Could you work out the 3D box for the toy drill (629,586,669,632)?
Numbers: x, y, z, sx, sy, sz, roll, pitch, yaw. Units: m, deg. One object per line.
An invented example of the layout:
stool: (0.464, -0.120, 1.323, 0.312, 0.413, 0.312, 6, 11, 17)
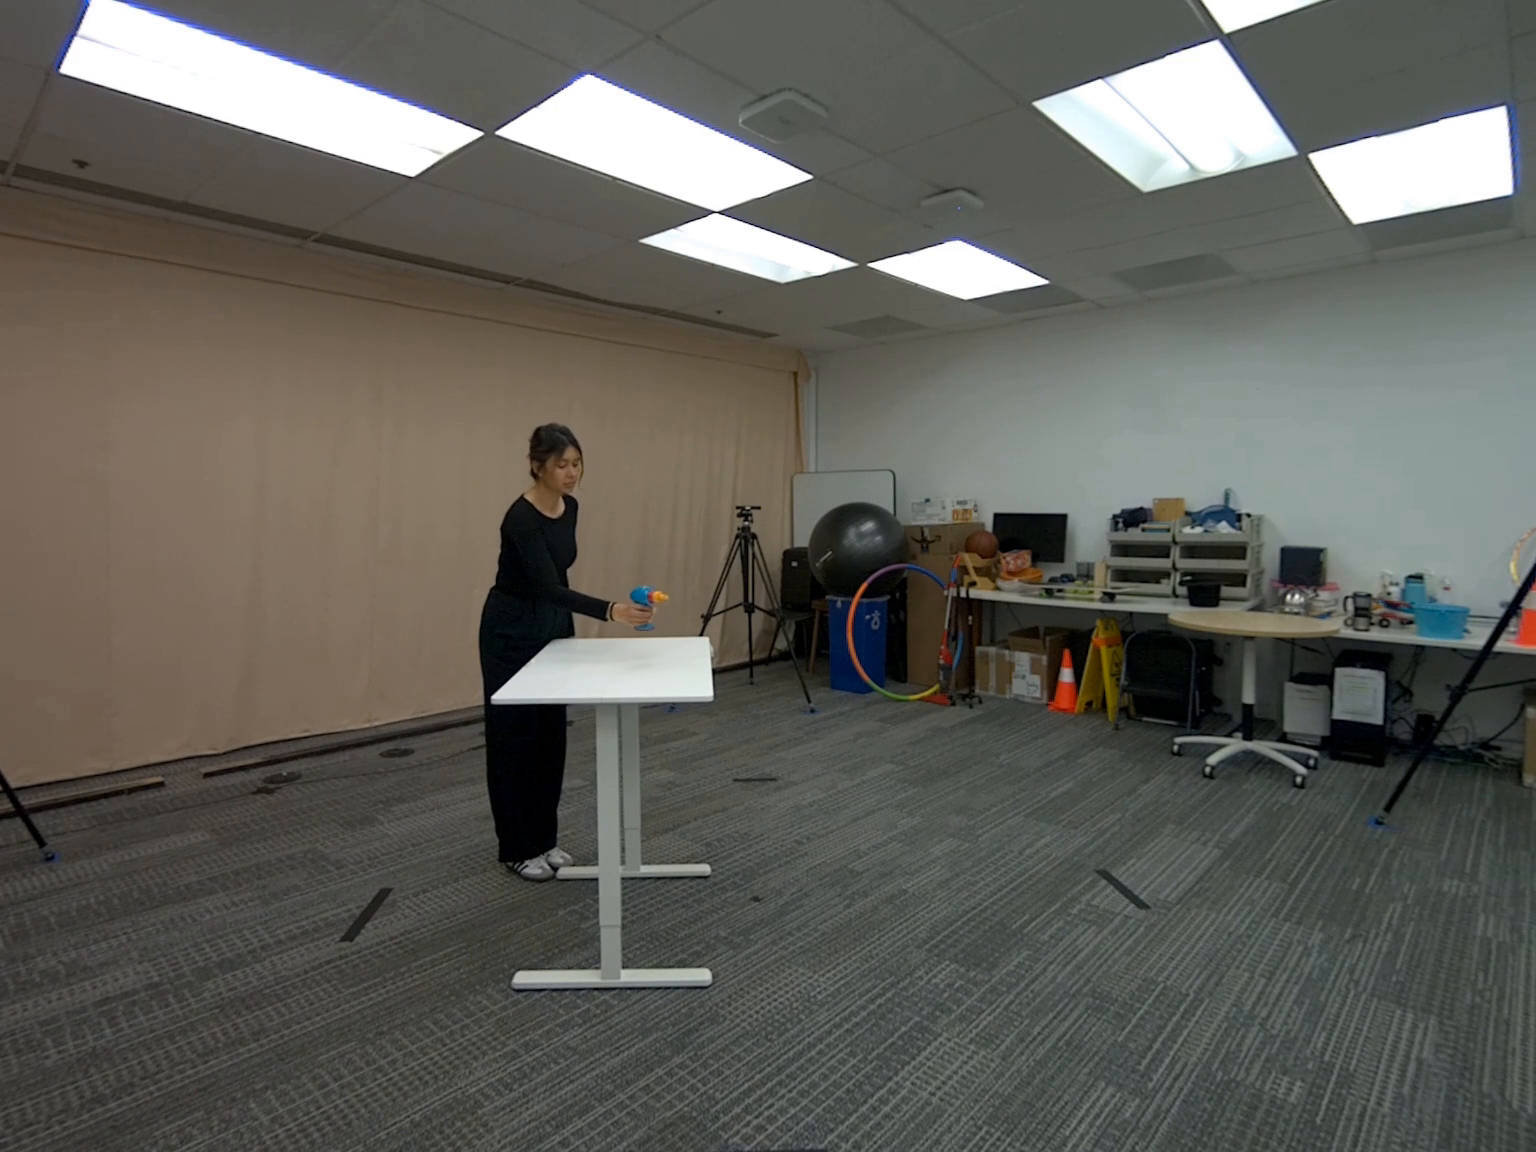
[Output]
toy drill: (-0.374, 0.101, 2.731, 0.175, 0.145, 0.059, 2, 8, 36)
